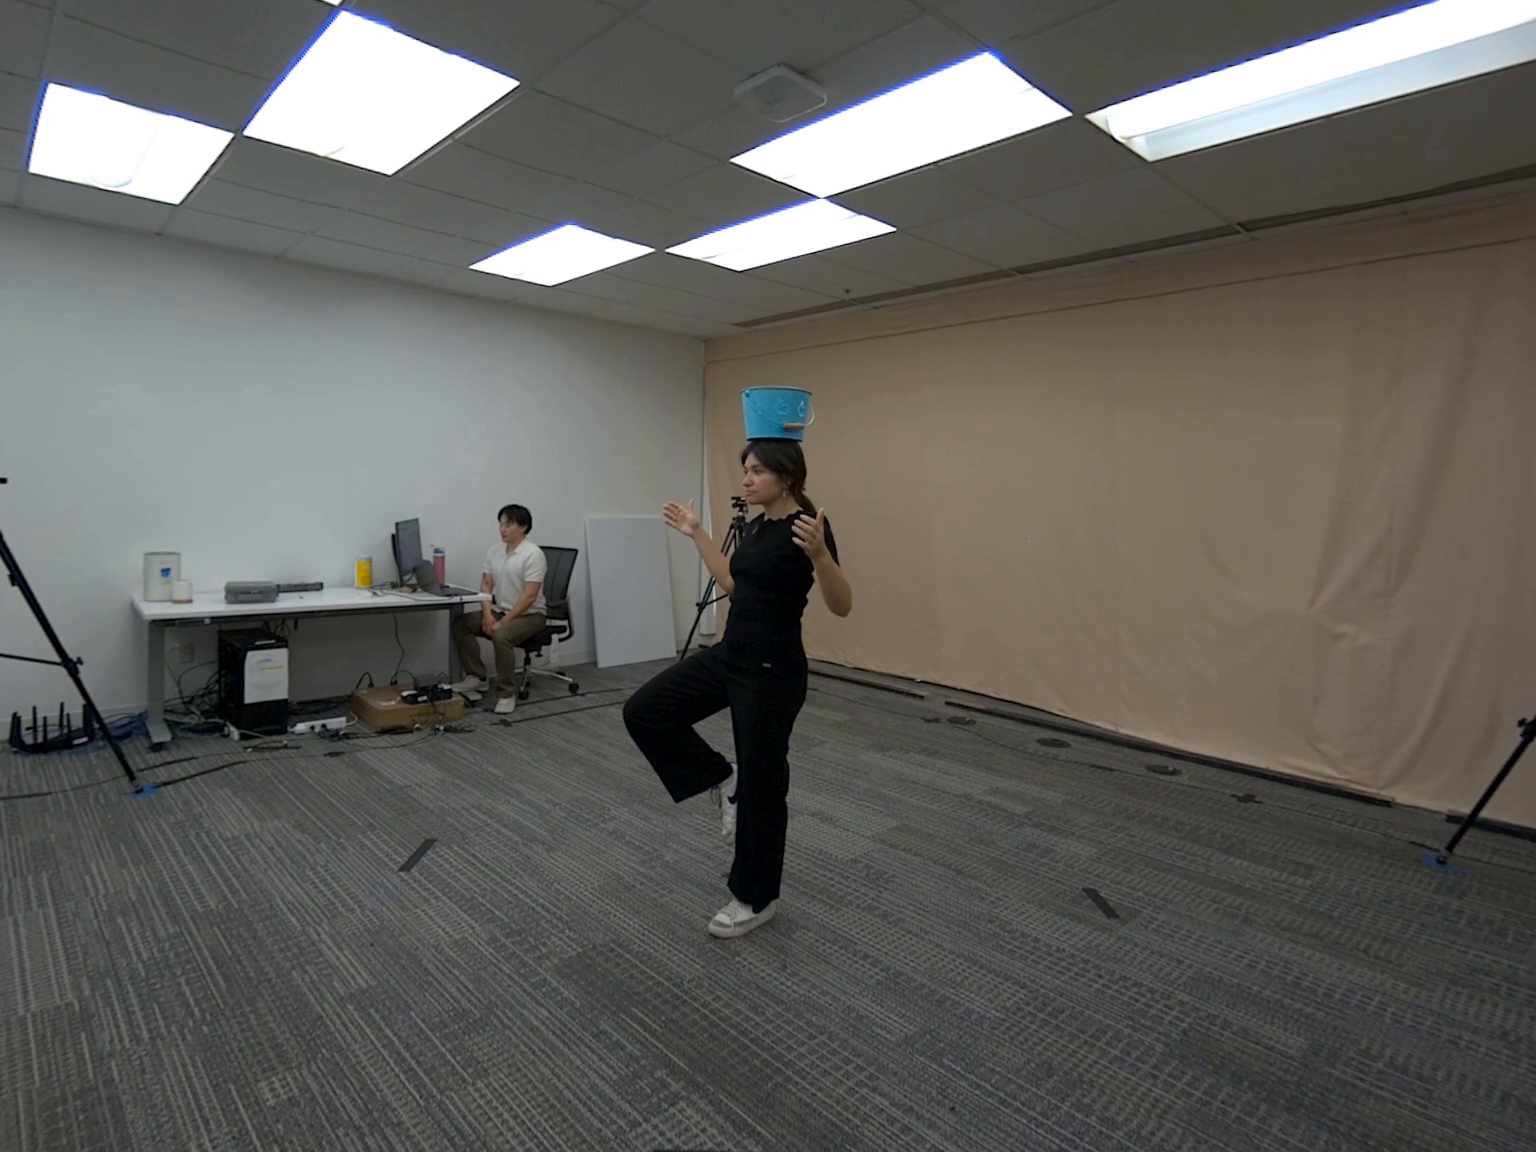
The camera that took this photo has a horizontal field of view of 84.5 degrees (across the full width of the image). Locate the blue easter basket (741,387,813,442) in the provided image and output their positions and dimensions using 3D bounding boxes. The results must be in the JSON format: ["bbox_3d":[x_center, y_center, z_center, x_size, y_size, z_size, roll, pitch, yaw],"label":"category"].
[{"bbox_3d":[0.023,-0.508,2.676,0.243,0.156,0.244,2,2,-1],"label":"blue easter basket"}]
